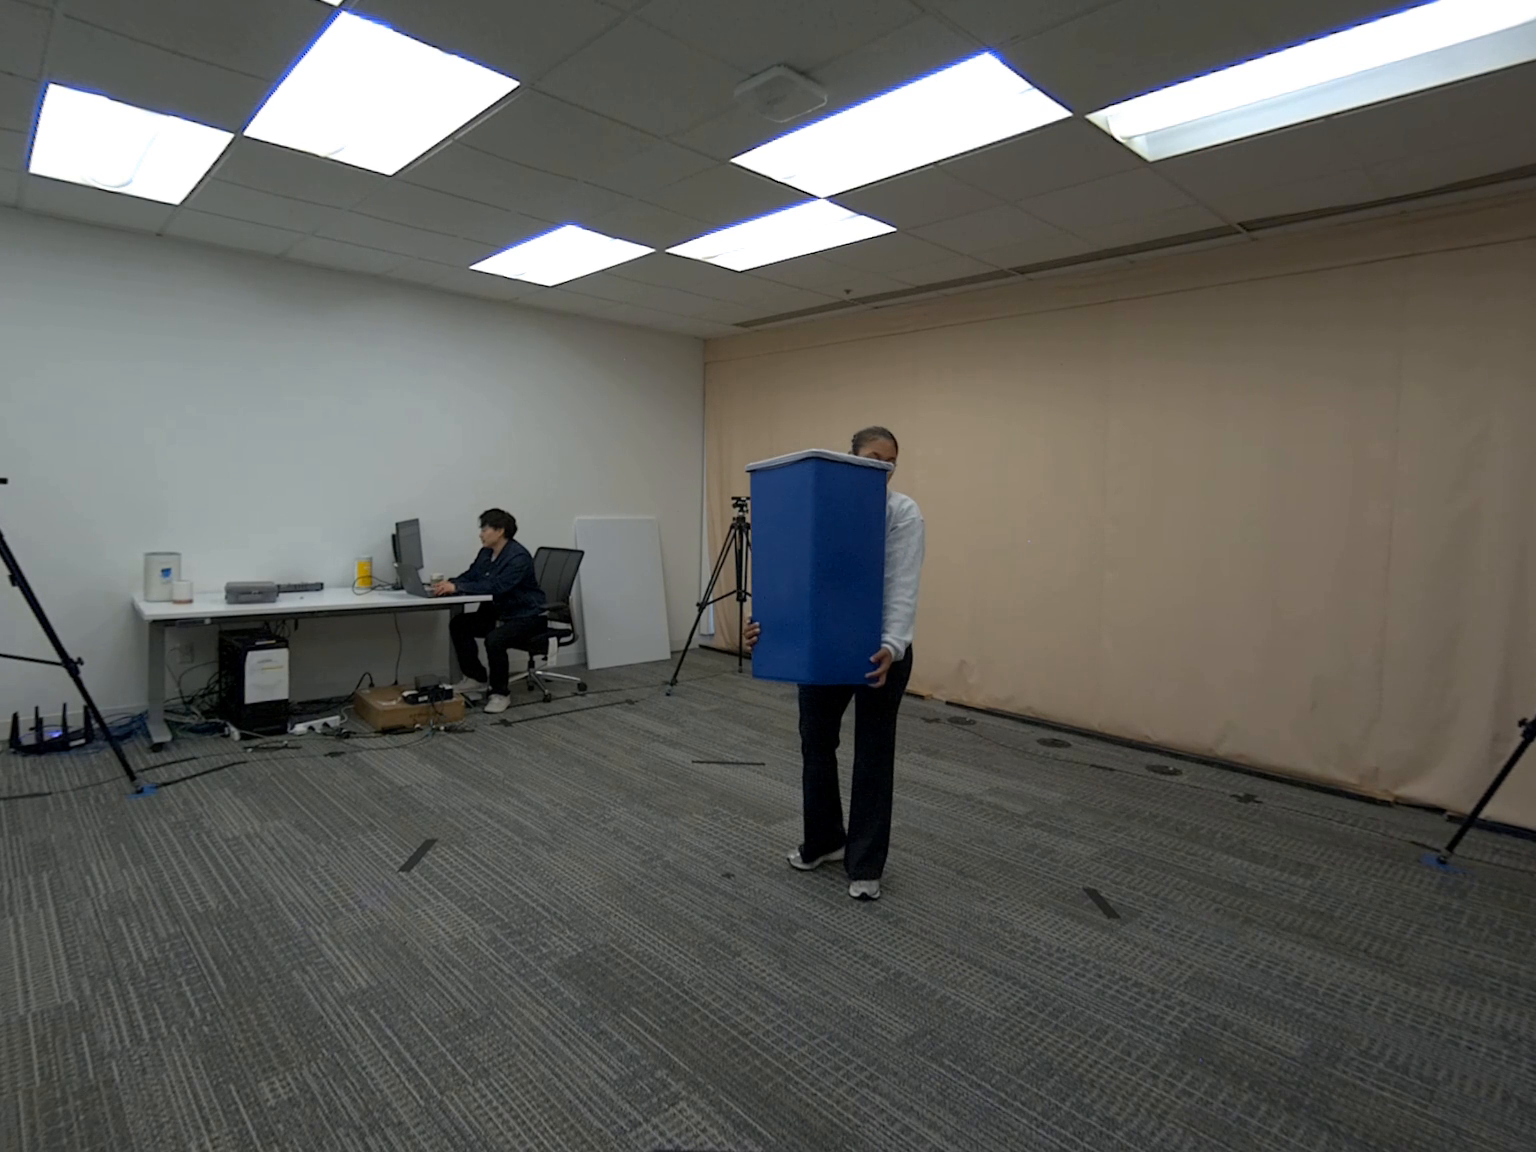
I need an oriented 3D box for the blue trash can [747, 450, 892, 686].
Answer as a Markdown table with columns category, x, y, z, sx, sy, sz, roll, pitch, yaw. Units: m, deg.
| category | x | y | z | sx | sy | sz | roll | pitch | yaw |
| --- | --- | --- | --- | --- | --- | --- | --- | --- | --- |
| blue trash can | 0.141 | -0.015 | 2.773 | 0.368 | 0.716 | 0.382 | 6 | -7 | -38 |
